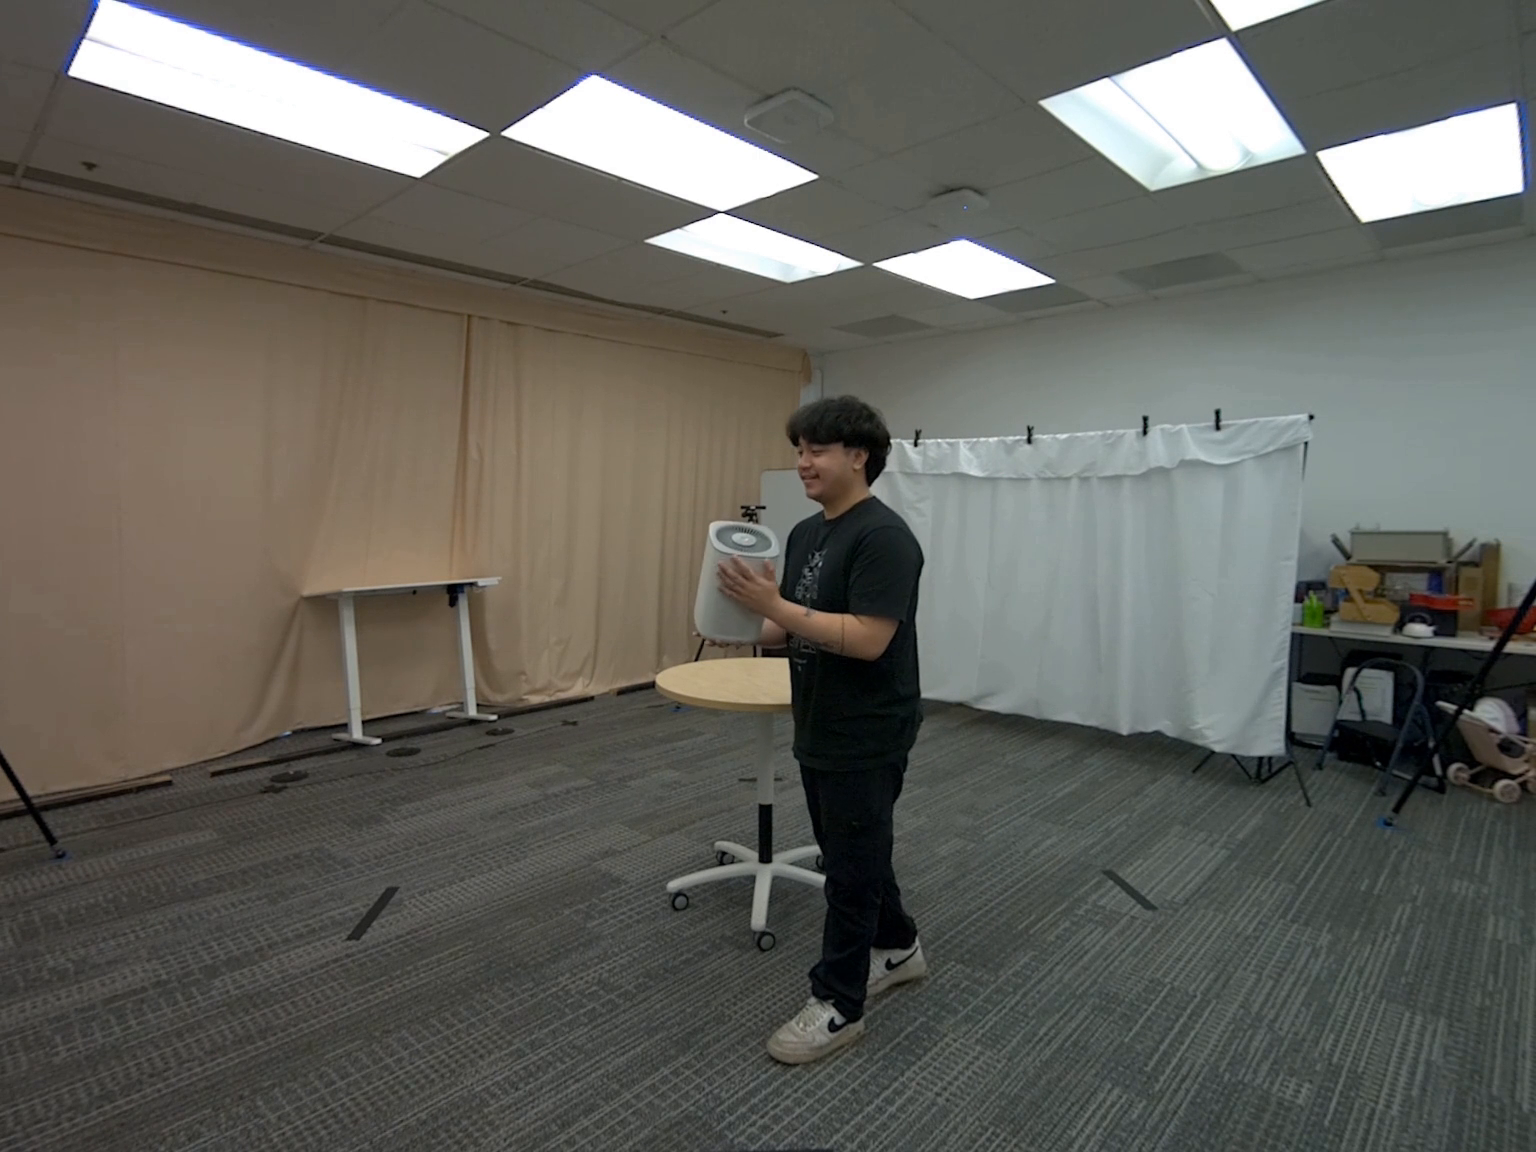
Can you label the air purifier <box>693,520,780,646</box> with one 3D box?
[{"bbox_3d":[-0.081,0.024,2.115,0.170,0.263,0.175,6,29,-11],"label":"air purifier"}]
